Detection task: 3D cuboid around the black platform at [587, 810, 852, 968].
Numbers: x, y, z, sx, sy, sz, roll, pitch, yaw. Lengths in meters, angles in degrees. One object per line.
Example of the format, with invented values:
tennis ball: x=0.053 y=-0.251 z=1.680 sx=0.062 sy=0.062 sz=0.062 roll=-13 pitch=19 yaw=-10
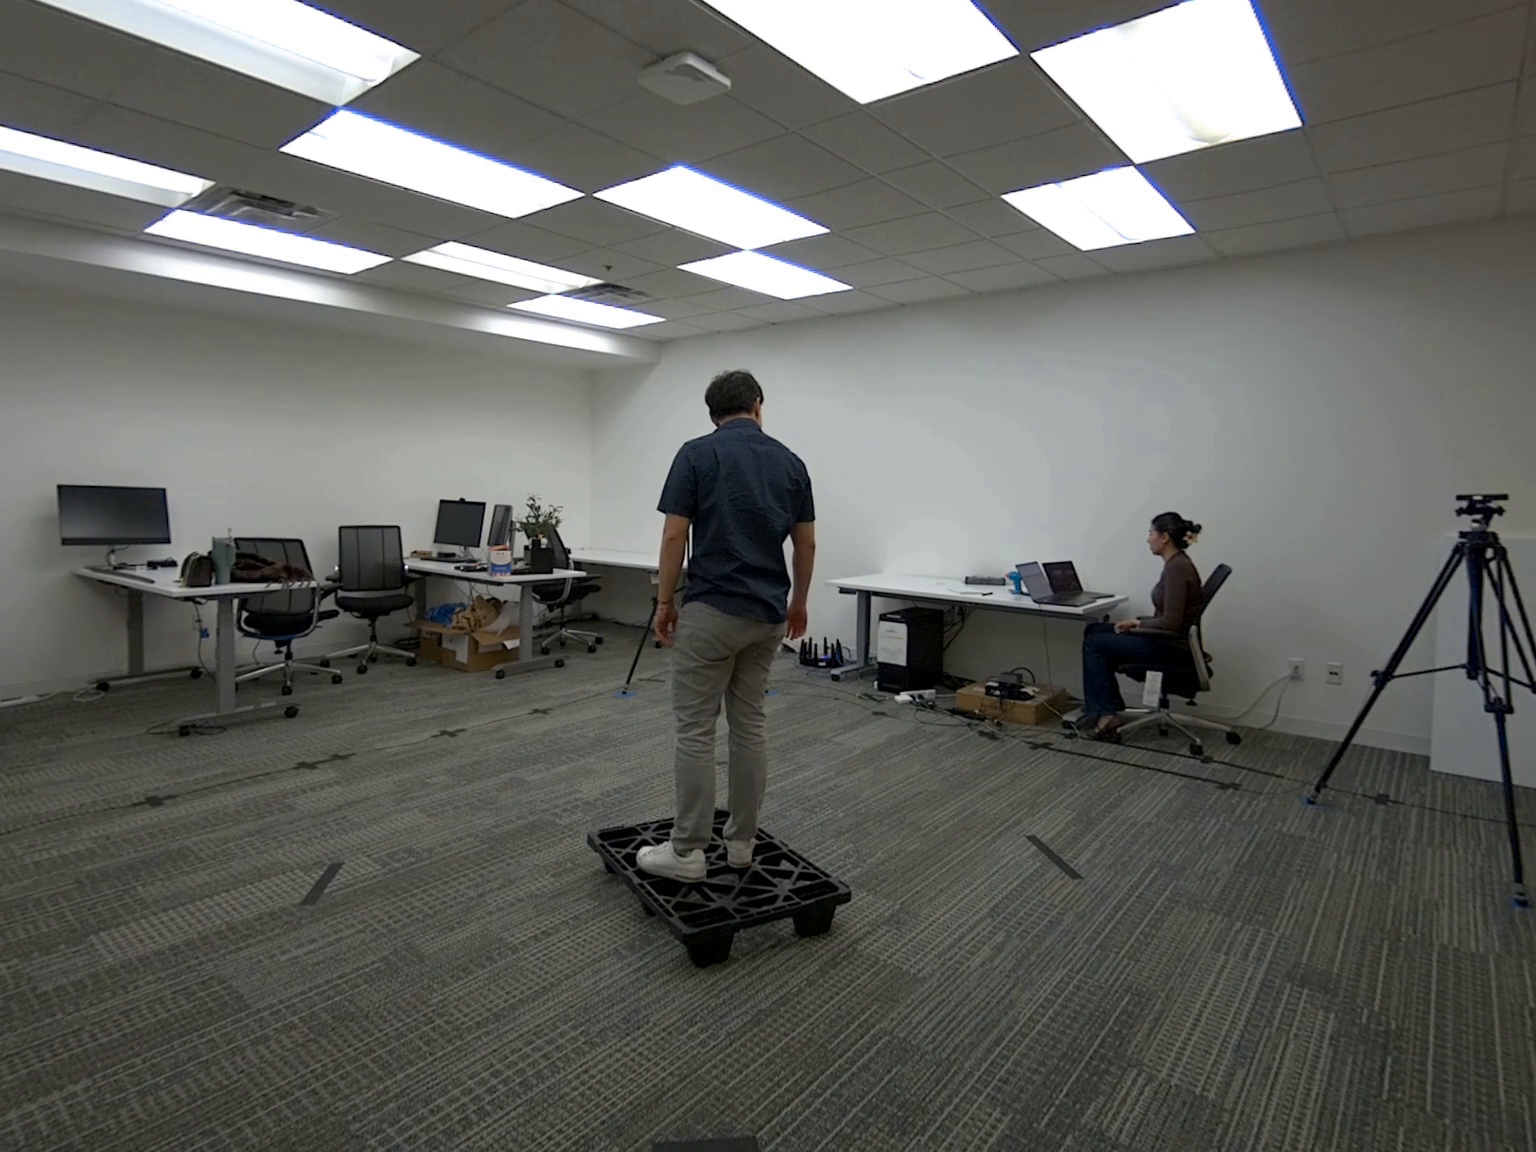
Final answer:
black platform: x=-0.204 y=1.022 z=2.875 sx=0.589 sy=0.143 sz=0.830 roll=-3 pitch=7 yaw=-31
